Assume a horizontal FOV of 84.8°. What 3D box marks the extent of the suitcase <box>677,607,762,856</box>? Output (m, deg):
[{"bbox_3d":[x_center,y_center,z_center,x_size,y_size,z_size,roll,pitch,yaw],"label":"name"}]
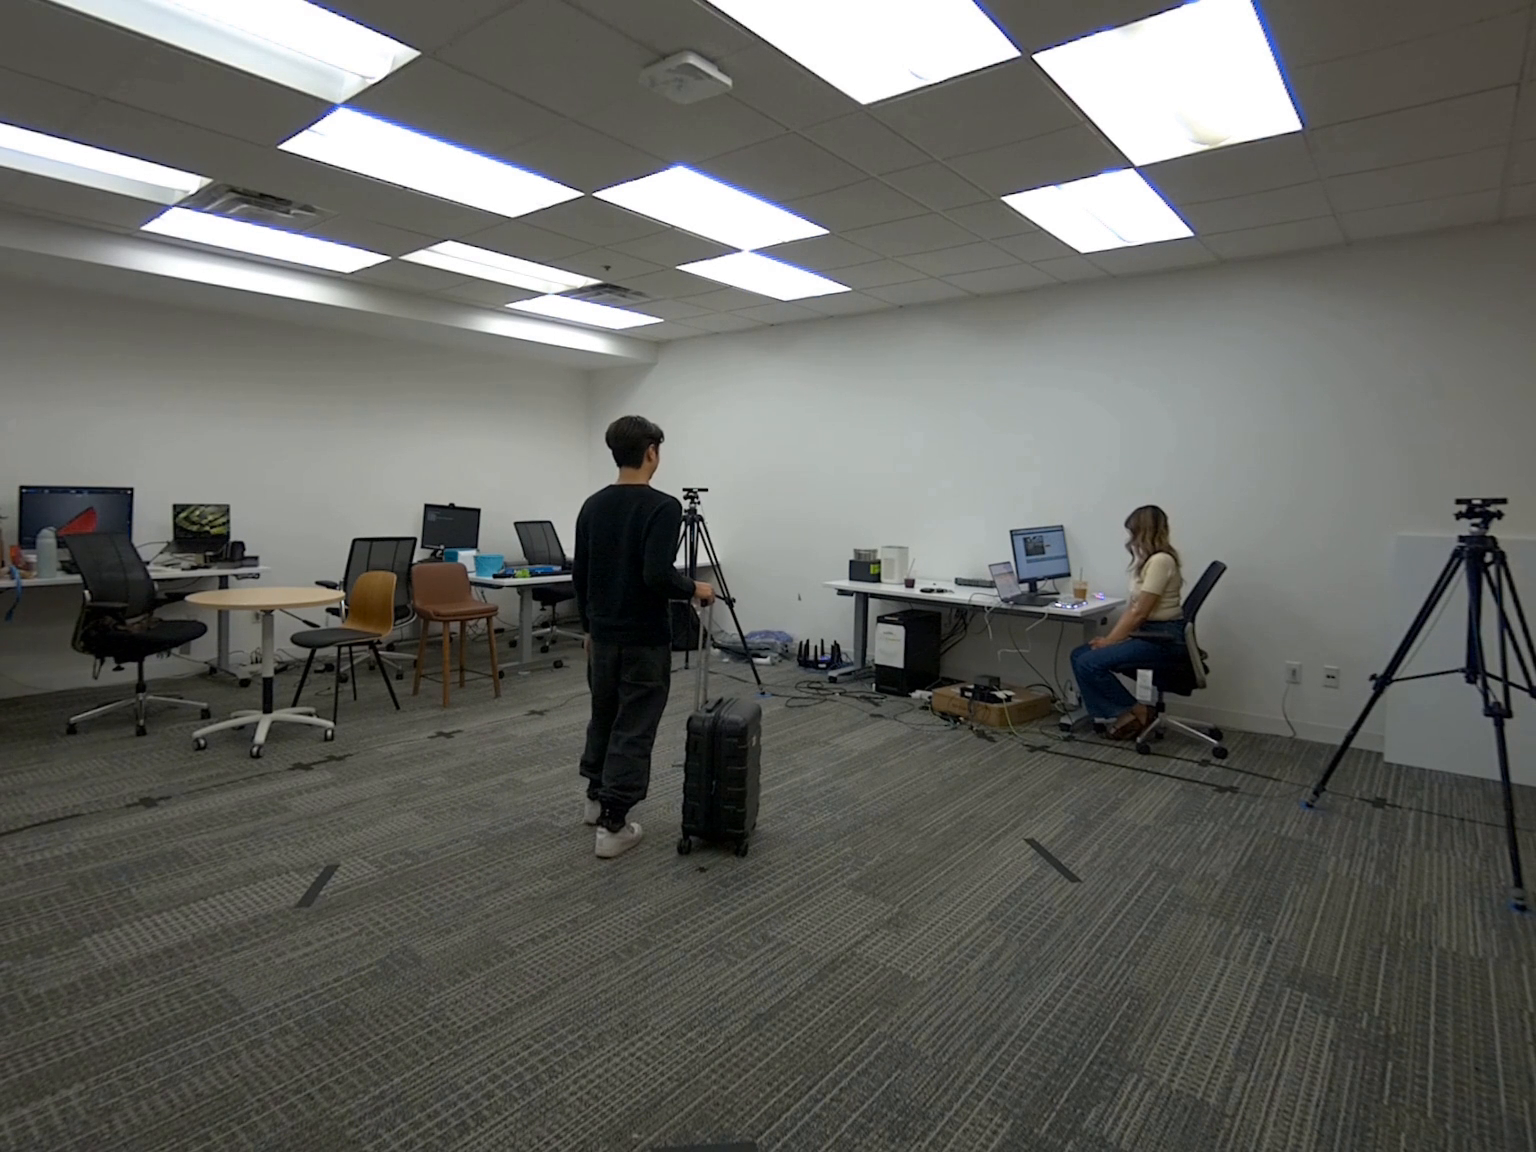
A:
[{"bbox_3d":[-0.163,0.575,3.365,0.260,0.977,0.381,6,2,8],"label":"suitcase"}]
